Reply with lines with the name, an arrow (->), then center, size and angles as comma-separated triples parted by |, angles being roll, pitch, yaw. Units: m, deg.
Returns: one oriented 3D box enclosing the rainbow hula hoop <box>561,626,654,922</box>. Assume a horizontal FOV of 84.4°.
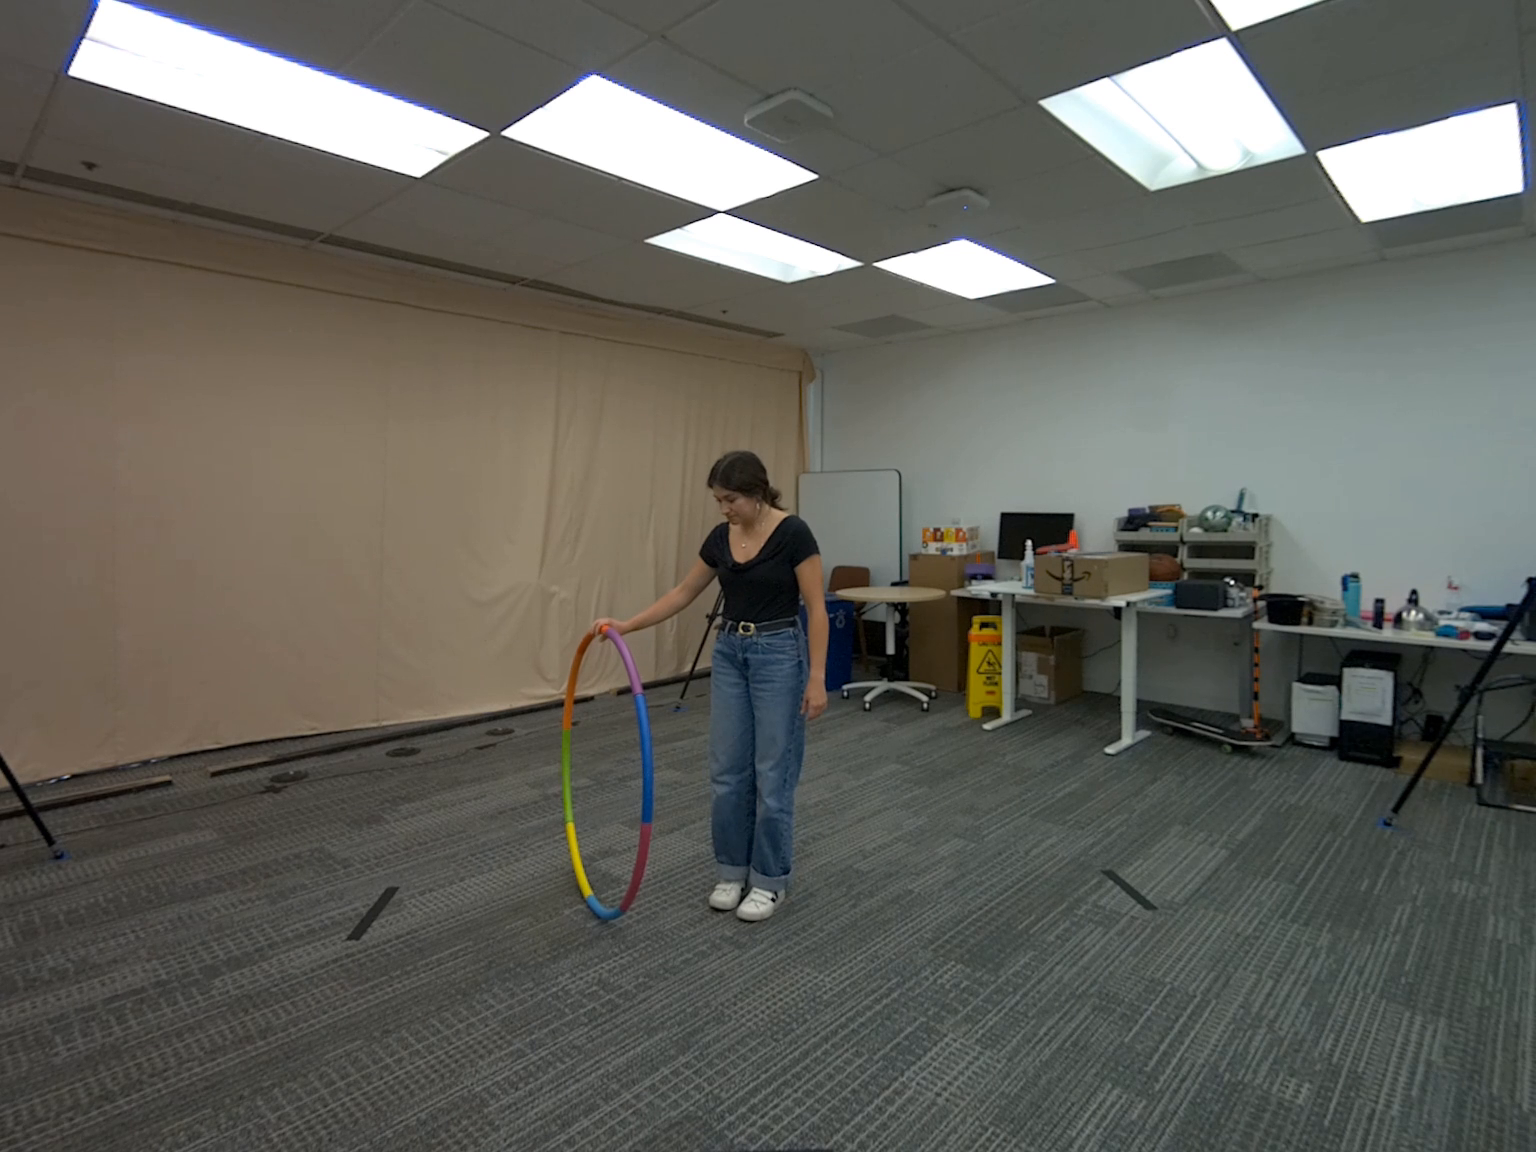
rainbow hula hoop -> -0.577, 0.664, 2.931 | 0.034, 0.978, 1.005 | 3, 2, -28
